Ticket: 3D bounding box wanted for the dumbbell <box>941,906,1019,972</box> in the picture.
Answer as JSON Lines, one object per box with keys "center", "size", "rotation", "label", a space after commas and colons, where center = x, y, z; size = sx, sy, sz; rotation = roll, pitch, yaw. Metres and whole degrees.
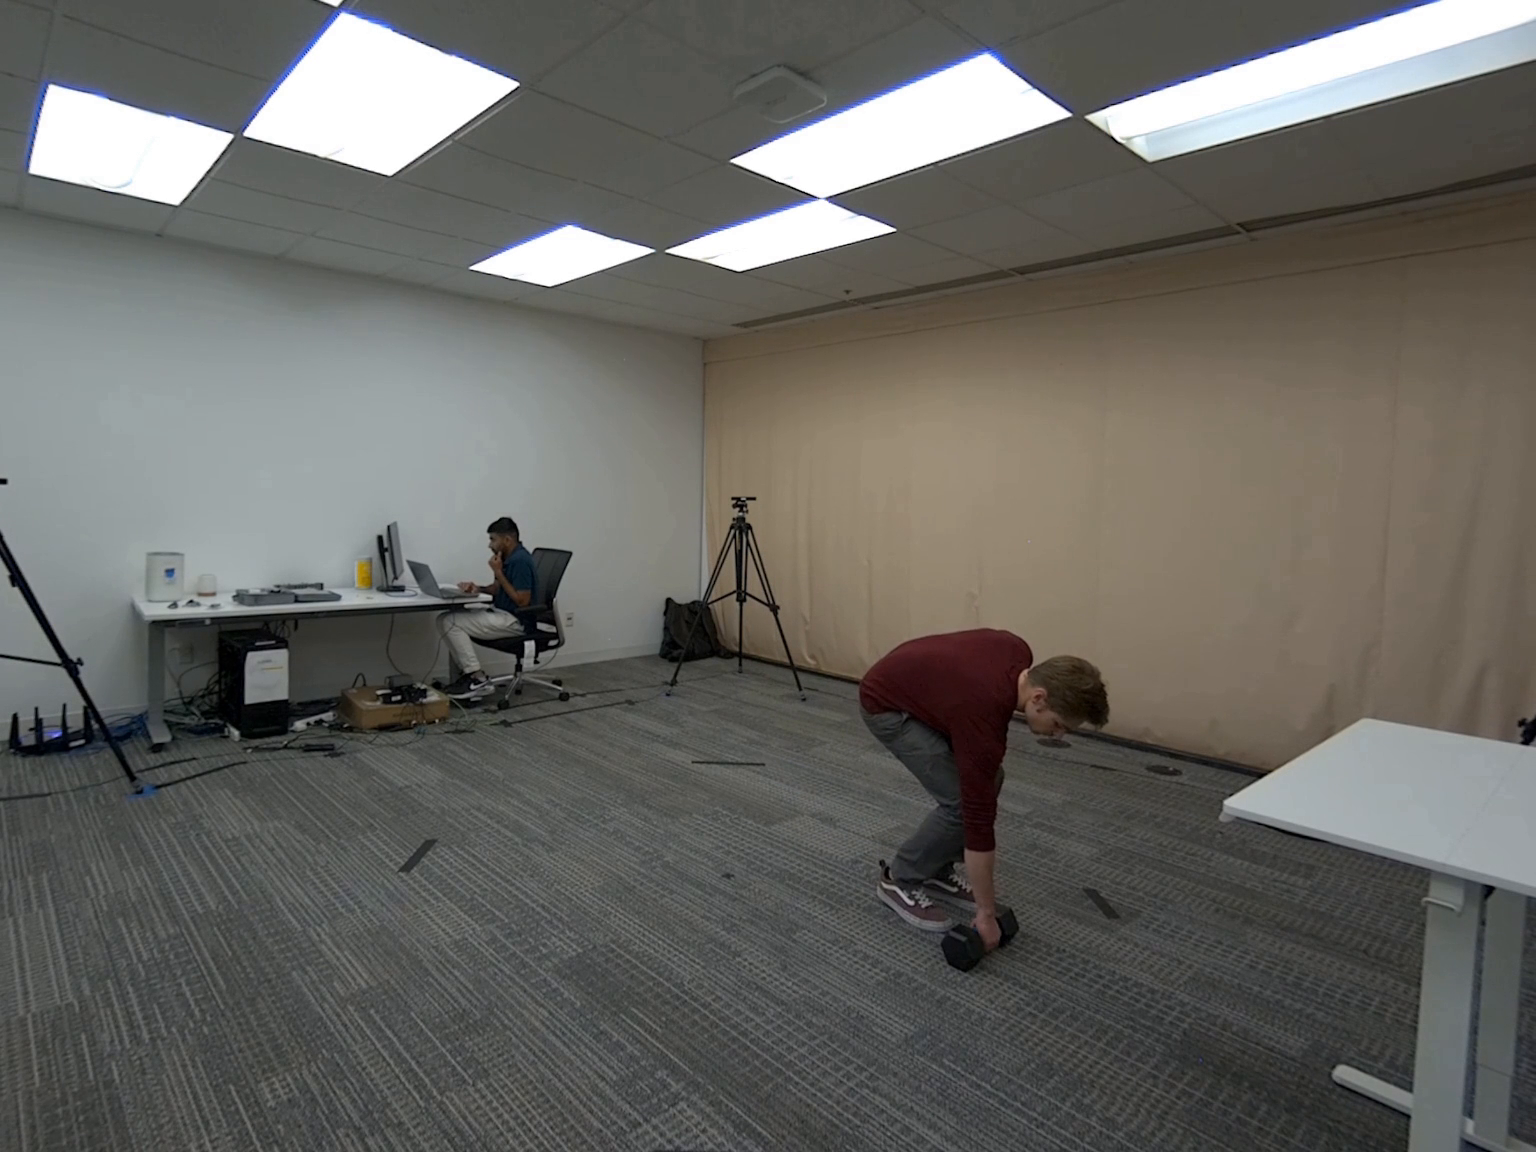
{"center": [0.655, 1.120, 2.611], "size": [0.287, 0.122, 0.112], "rotation": [-5, 39, -45], "label": "dumbbell"}
